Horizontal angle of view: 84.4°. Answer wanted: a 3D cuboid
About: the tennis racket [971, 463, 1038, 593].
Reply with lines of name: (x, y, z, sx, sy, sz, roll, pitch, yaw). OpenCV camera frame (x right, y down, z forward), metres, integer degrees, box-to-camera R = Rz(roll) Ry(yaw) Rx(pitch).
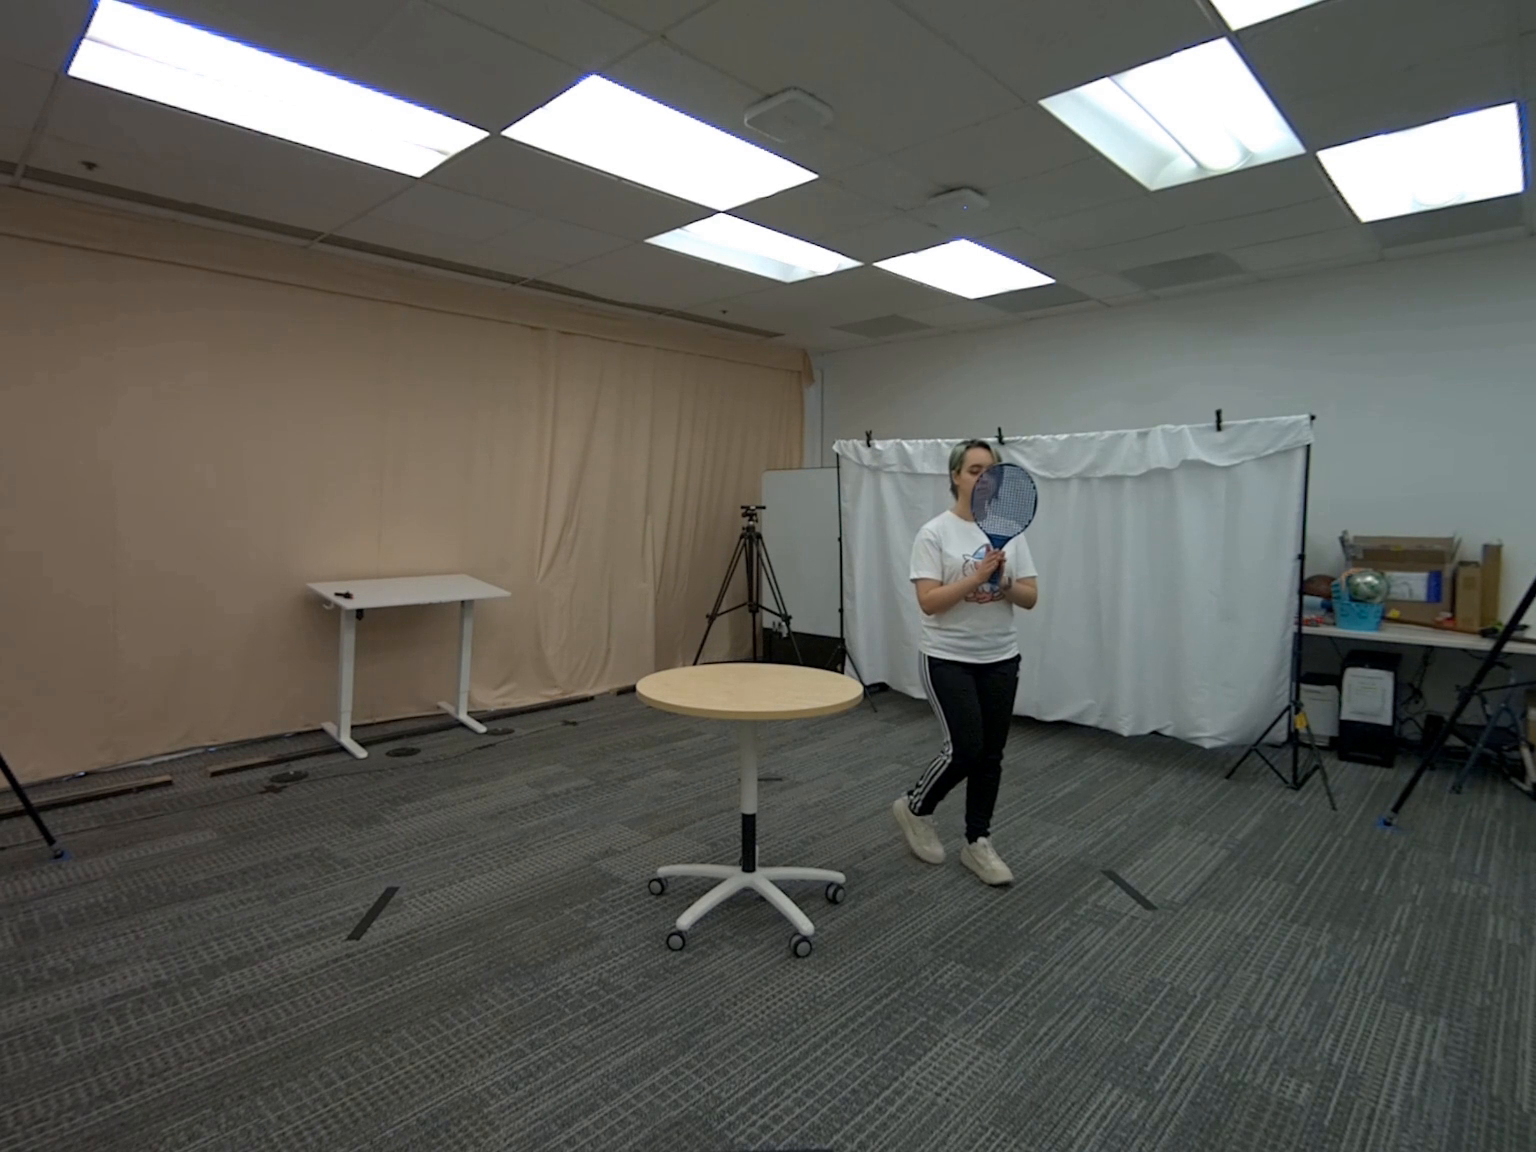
tennis racket: (0.779, -0.171, 2.854, 0.220, 0.428, 0.031, 15, 21, 25)
